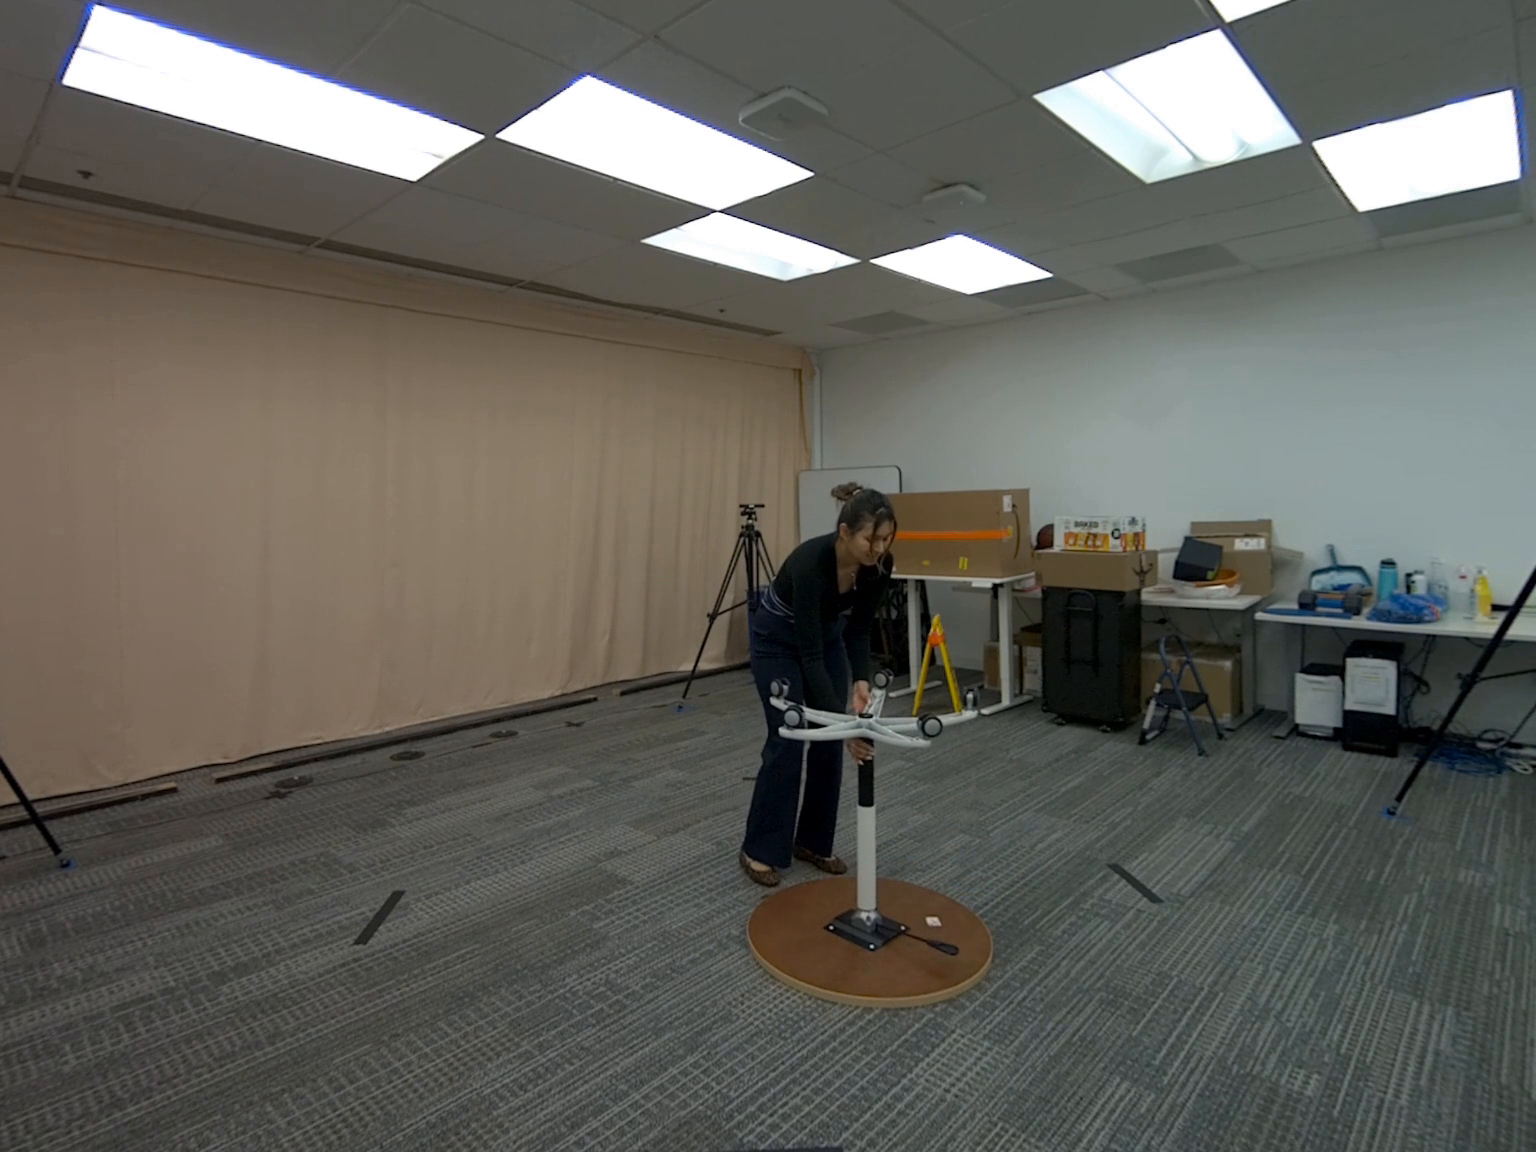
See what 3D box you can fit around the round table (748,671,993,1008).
[{"bbox_3d":[0.321,0.767,2.675,0.763,0.792,0.767,0,4,-2],"label":"round table"}]
